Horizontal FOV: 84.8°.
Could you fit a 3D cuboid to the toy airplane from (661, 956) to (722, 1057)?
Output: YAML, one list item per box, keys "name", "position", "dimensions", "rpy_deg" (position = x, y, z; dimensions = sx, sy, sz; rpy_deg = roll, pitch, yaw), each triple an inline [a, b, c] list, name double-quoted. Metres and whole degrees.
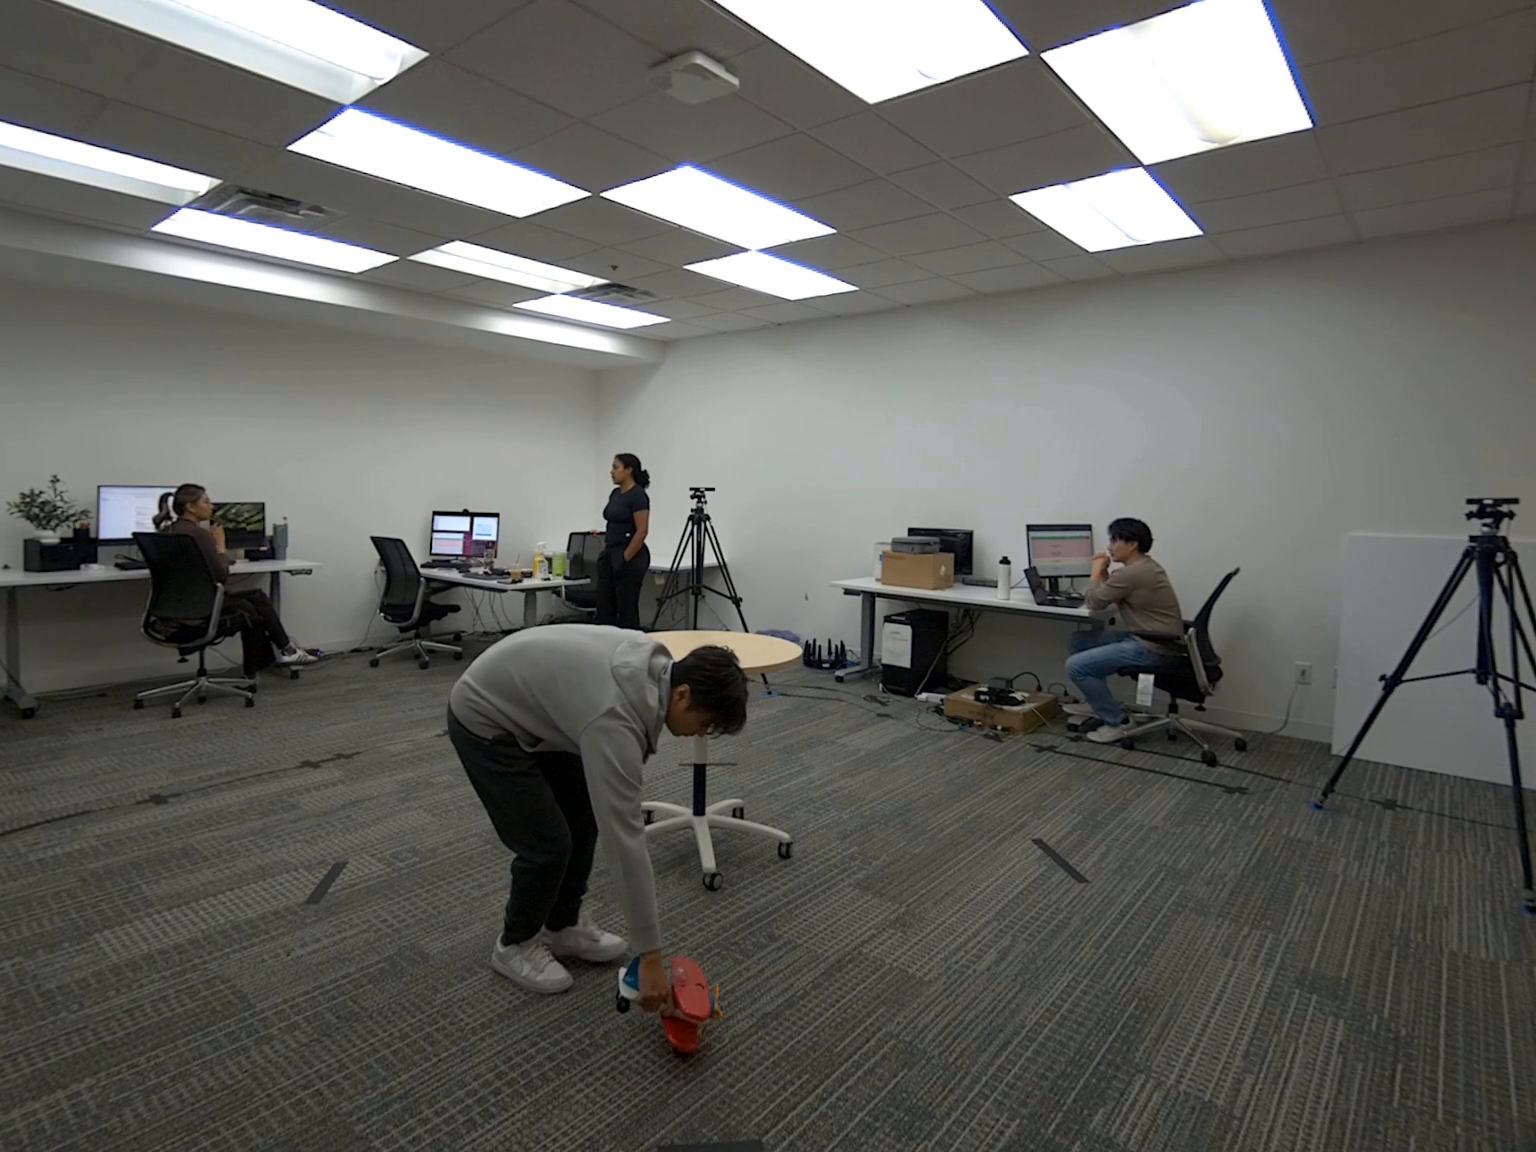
- name: "toy airplane"
  position: [-0.254, 1.056, 2.097]
  dimensions: [0.249, 0.156, 0.261]
  rpy_deg: [40, -3, -39]
